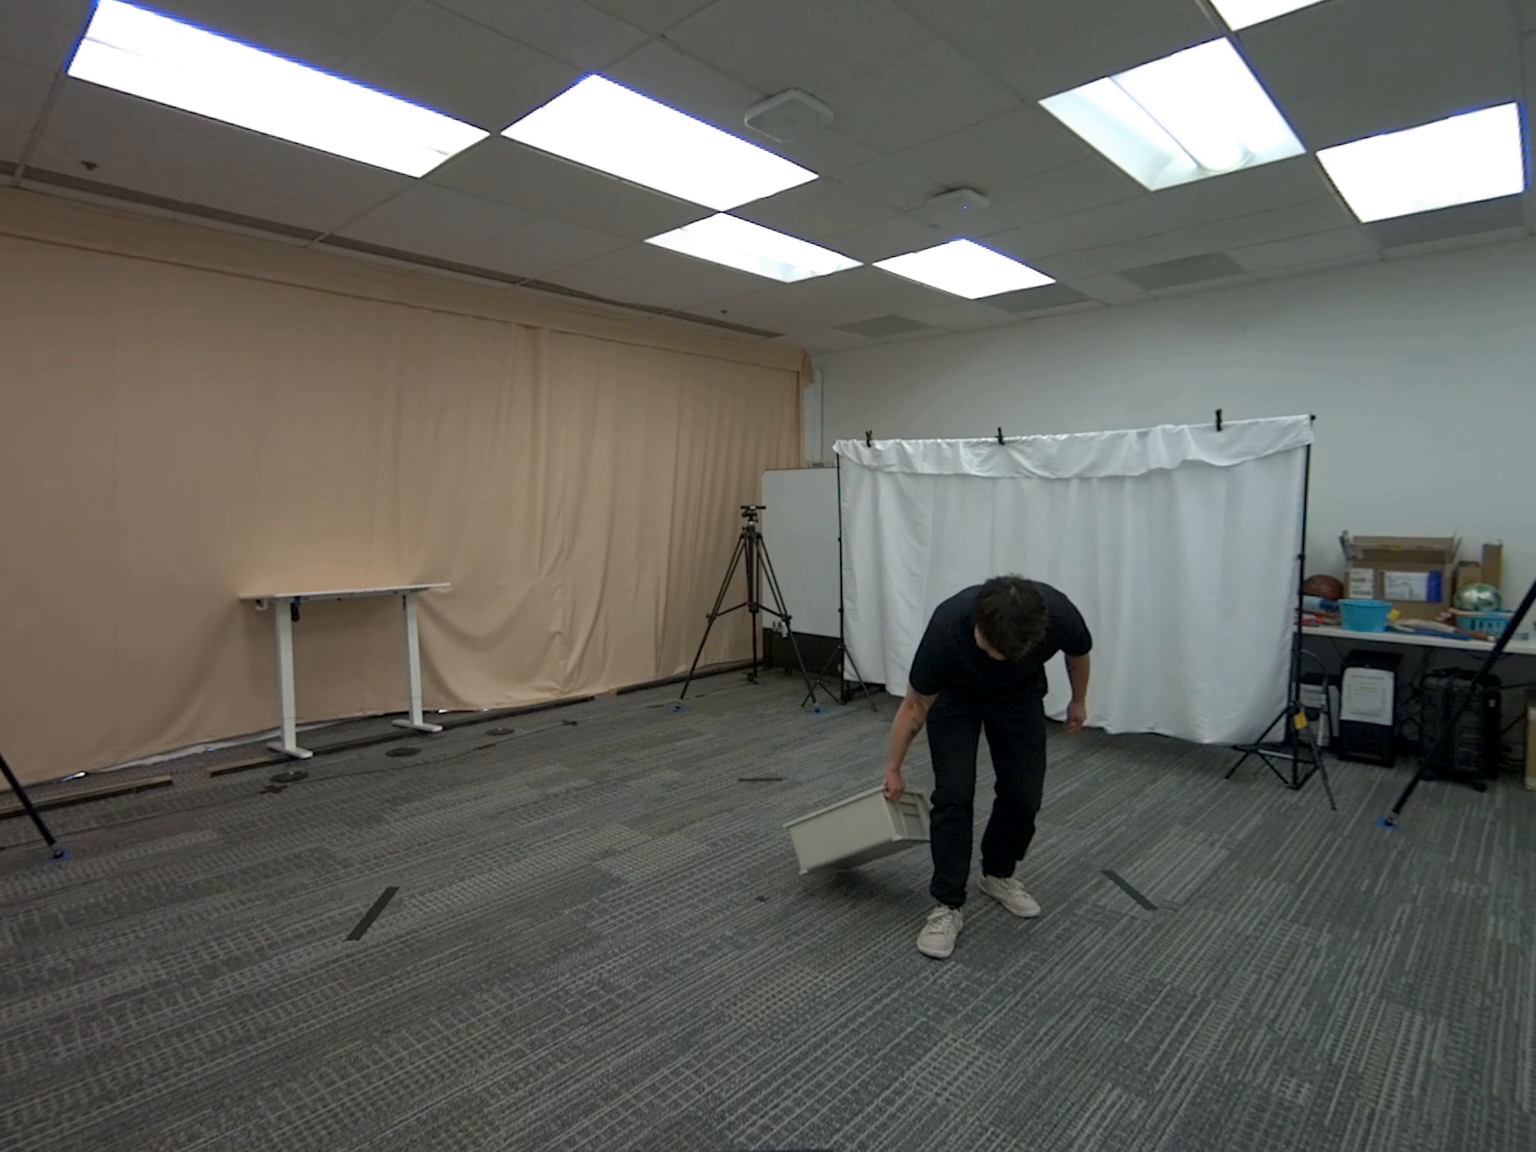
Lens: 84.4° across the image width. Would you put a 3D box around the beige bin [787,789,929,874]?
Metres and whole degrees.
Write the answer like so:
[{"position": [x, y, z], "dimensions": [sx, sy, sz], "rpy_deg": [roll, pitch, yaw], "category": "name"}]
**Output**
[{"position": [0.347, 0.928, 3.037], "dimensions": [0.429, 0.193, 0.364], "rpy_deg": [-27, -28, 25], "category": "beige bin"}]
